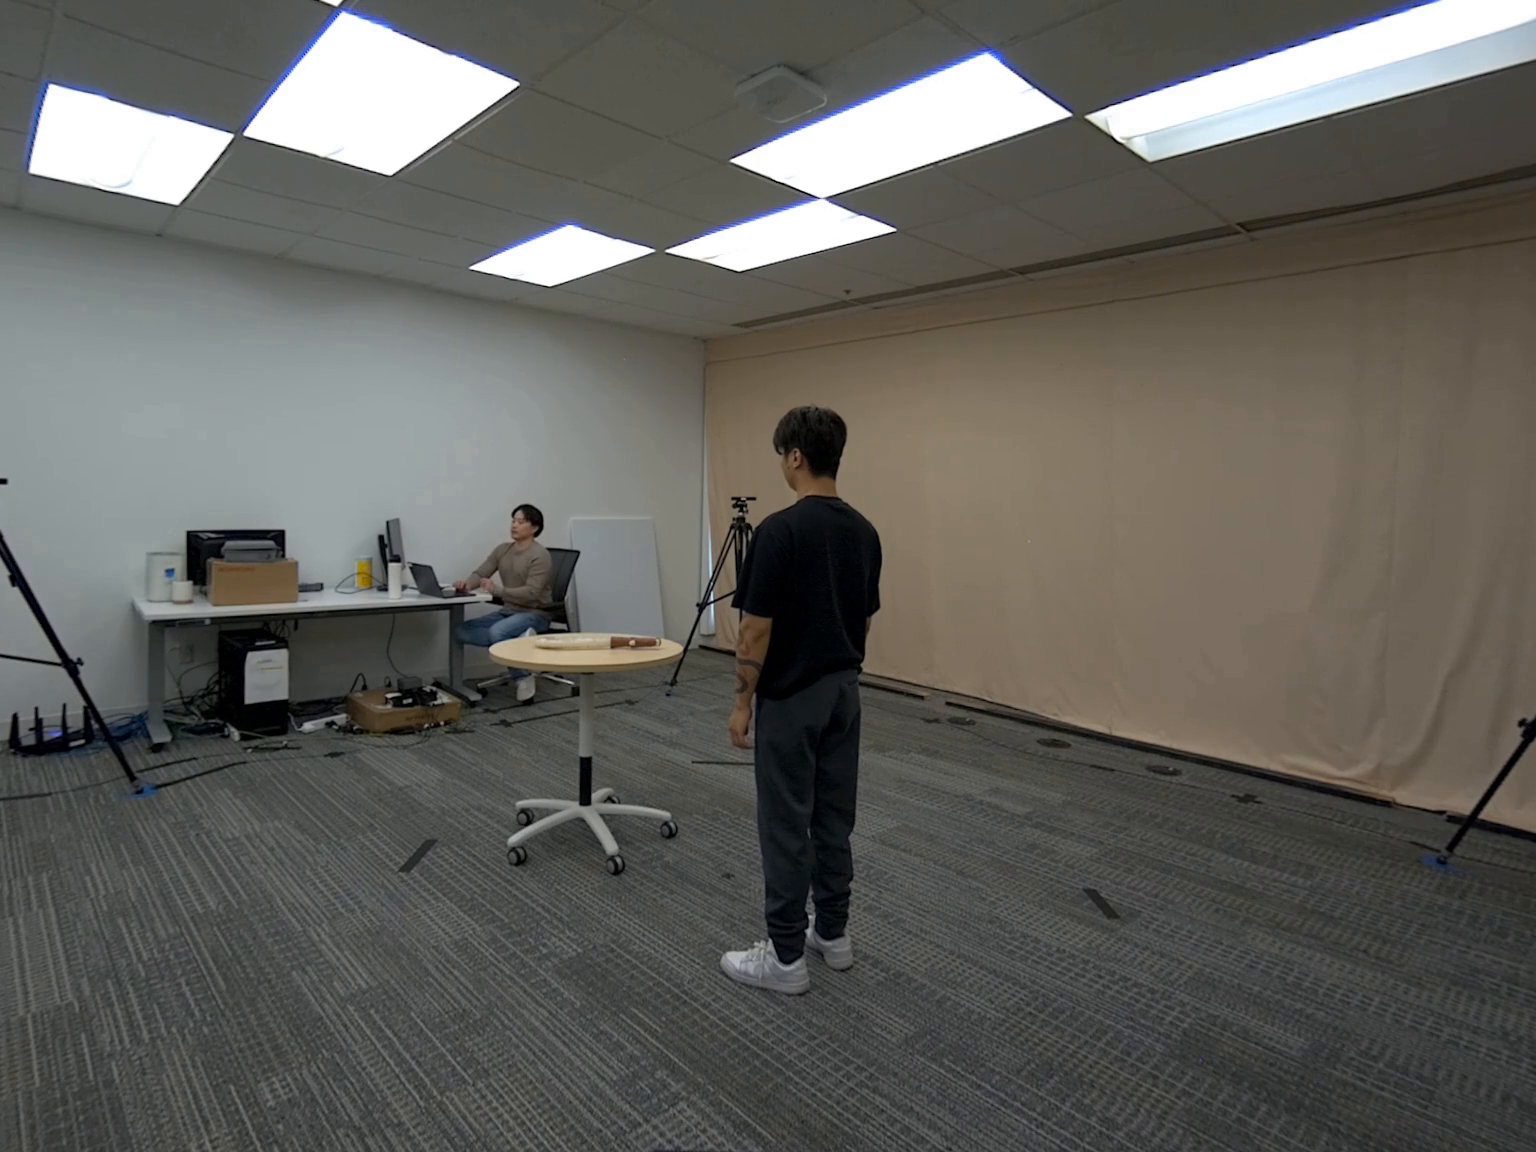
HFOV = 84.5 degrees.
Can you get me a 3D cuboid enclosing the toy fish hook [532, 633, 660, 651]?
[{"bbox_3d":[-0.698,0.259,3.413,0.506,0.048,0.226,0,8,-2],"label":"toy fish hook"}]
